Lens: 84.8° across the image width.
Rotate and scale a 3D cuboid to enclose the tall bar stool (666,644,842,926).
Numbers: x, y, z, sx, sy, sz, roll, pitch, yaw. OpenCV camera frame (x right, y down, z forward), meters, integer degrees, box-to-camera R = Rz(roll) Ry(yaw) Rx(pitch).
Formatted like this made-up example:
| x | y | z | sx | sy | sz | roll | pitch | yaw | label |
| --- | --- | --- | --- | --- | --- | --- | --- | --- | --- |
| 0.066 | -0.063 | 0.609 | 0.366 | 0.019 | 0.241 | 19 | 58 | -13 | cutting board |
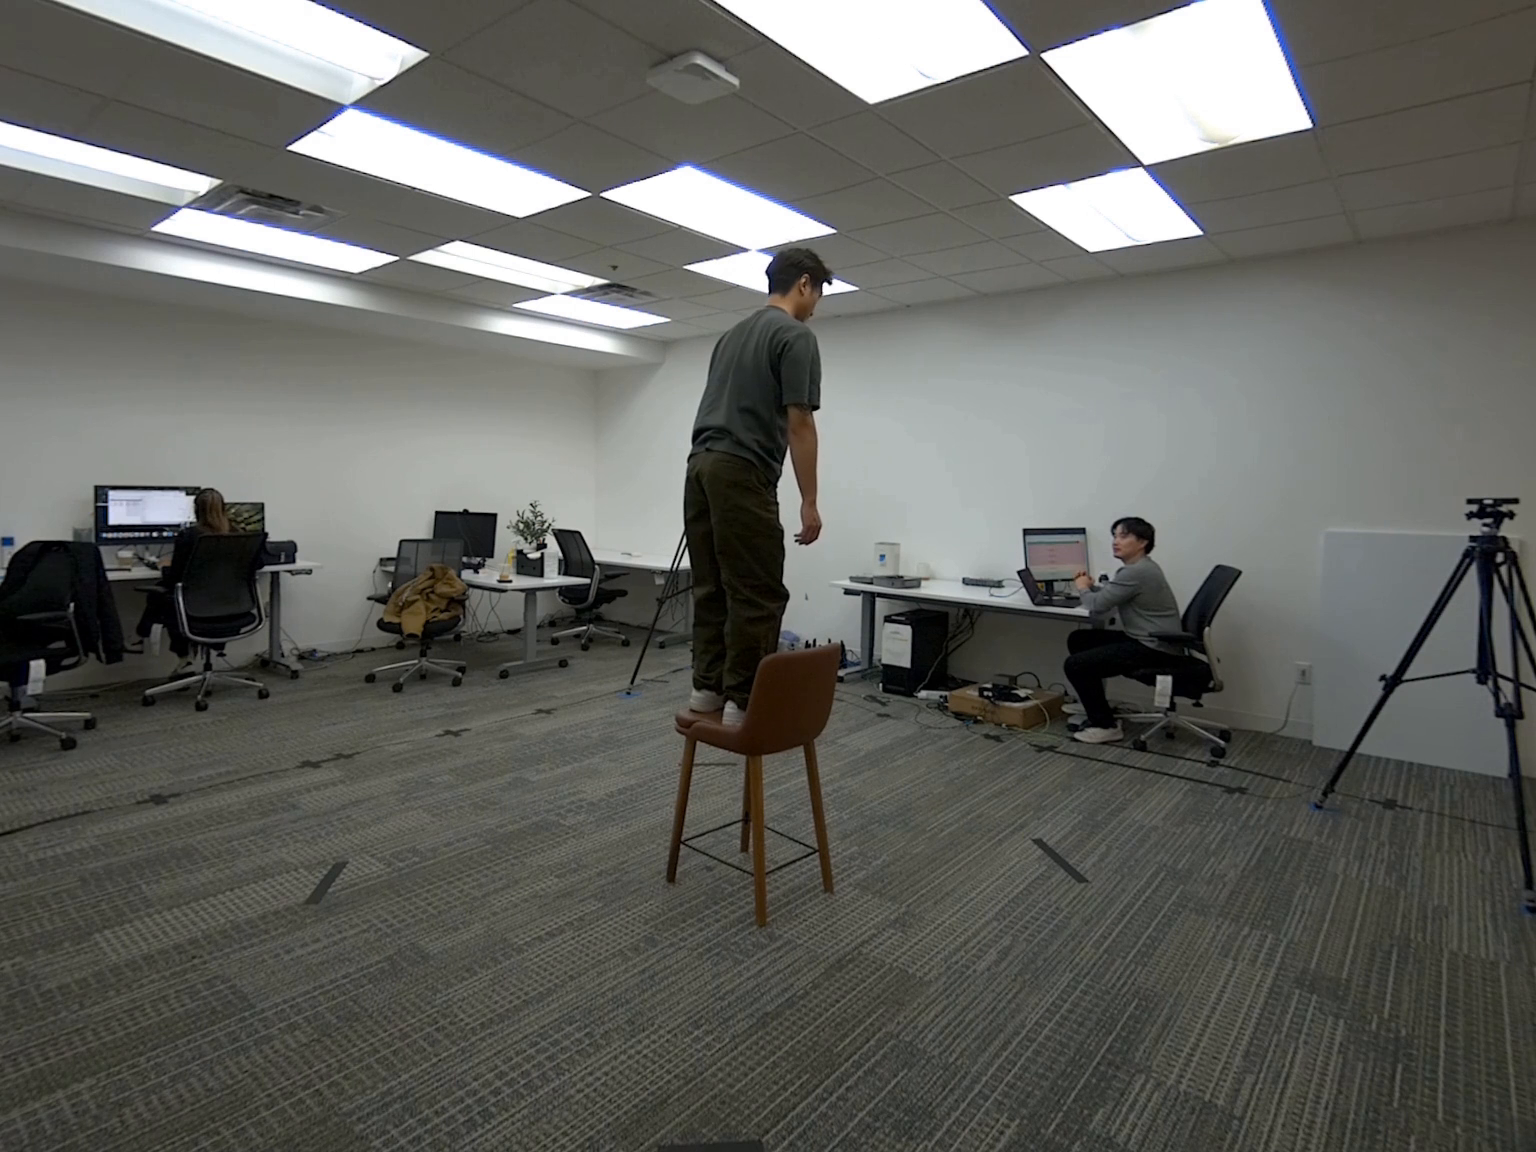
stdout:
| x | y | z | sx | sy | sz | roll | pitch | yaw | label |
| --- | --- | --- | --- | --- | --- | --- | --- | --- | --- |
| -0.053 | 0.648 | 2.960 | 0.484 | 0.886 | 0.442 | 7 | 6 | 43 | tall bar stool |
